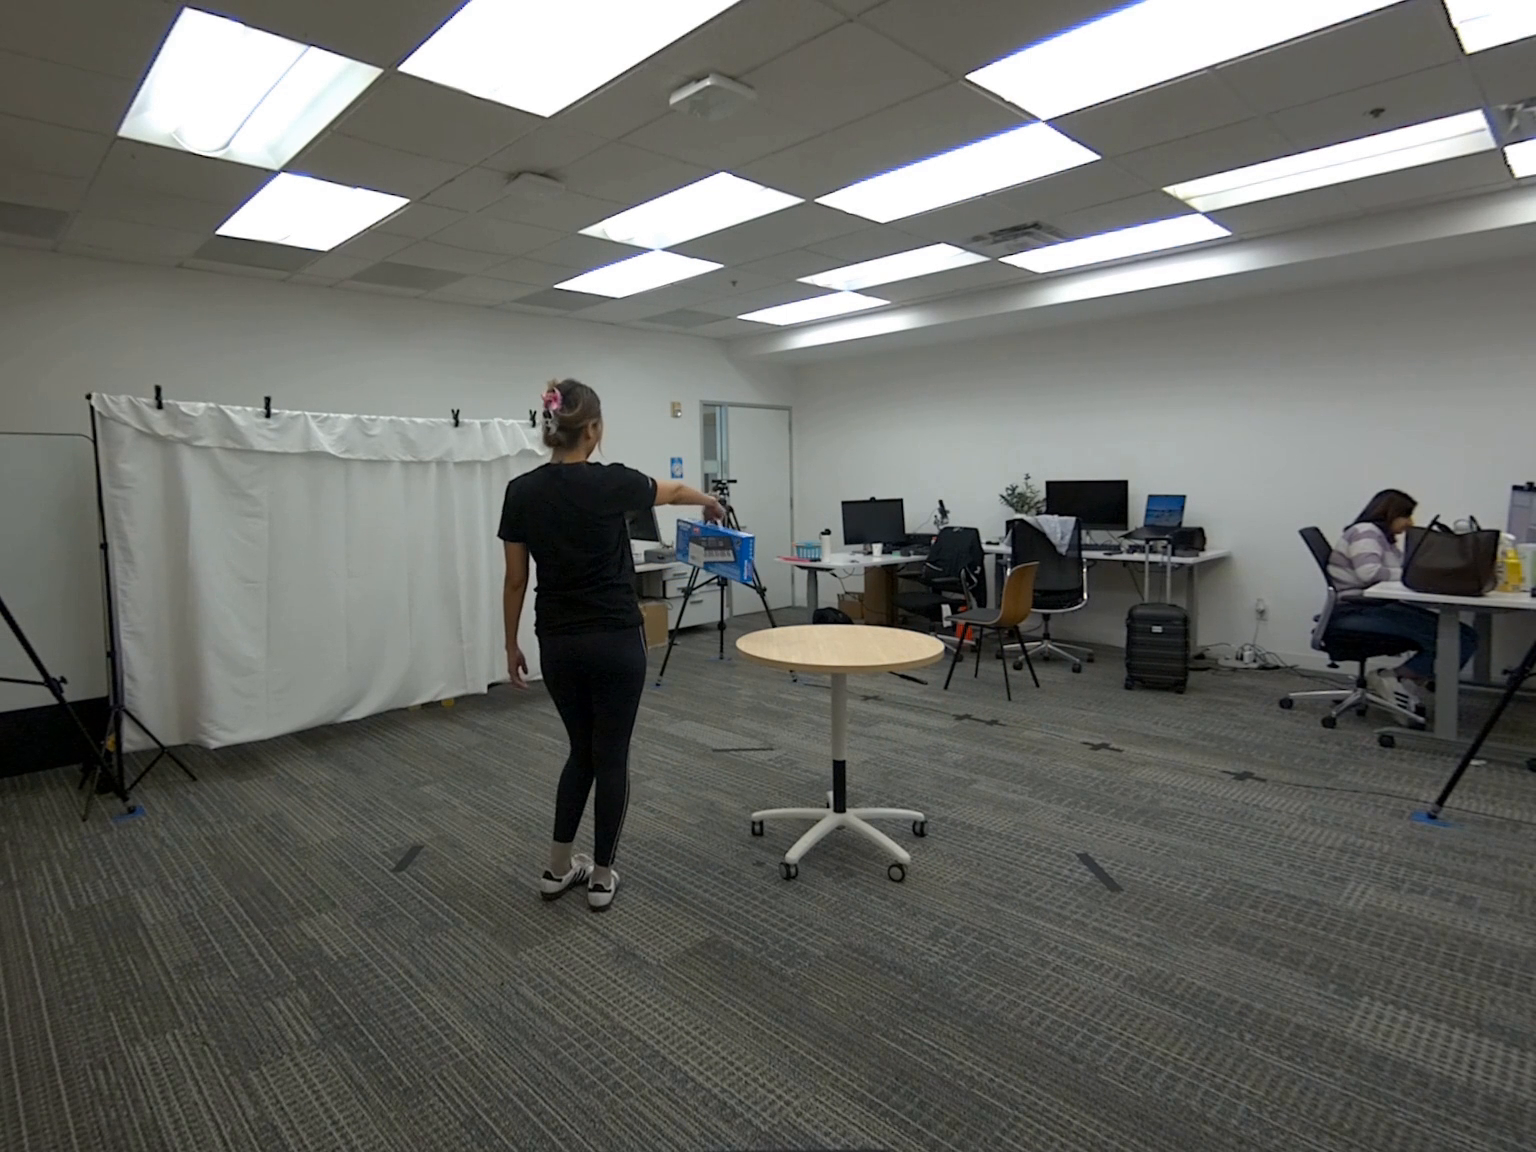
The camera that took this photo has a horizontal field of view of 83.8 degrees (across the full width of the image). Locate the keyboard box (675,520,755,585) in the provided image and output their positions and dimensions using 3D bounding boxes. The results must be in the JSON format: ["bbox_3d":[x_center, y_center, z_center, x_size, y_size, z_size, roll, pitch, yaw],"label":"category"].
[{"bbox_3d":[-0.207,-0.101,3.269,0.057,0.174,0.452,-6,15,-37],"label":"keyboard box"}]
